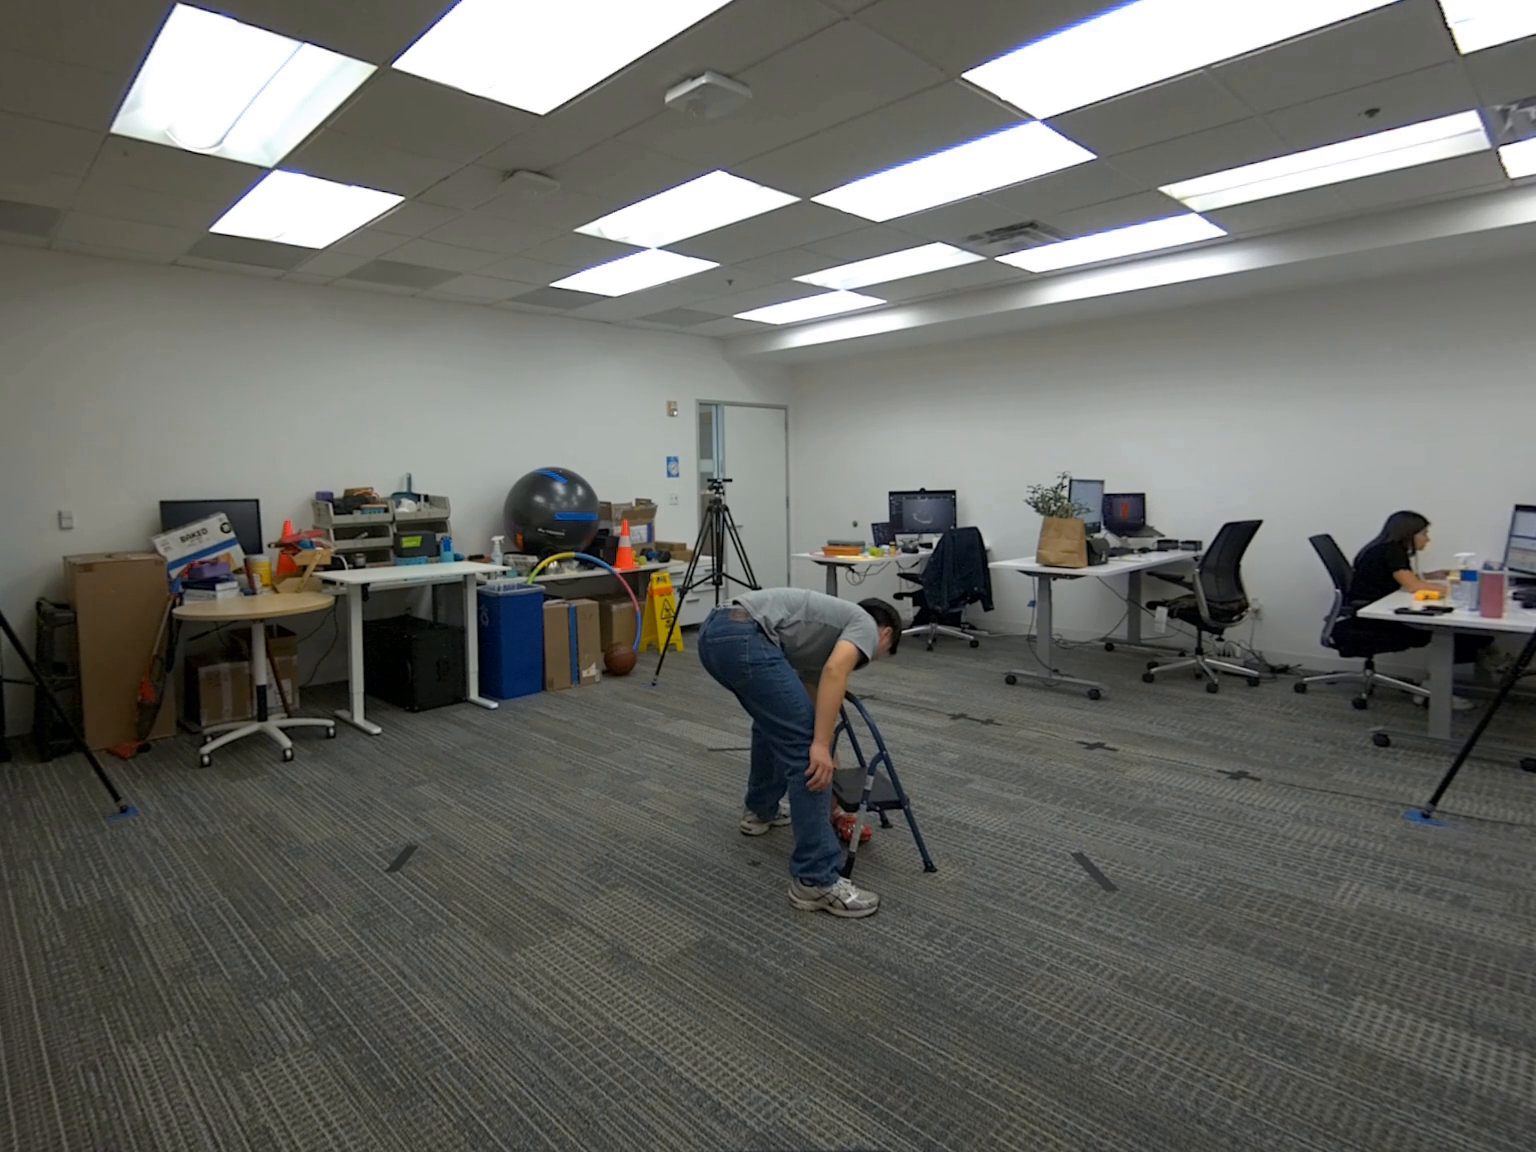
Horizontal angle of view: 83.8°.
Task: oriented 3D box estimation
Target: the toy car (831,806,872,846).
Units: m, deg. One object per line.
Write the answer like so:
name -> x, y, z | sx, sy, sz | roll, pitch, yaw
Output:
toy car -> 0.328, 0.985, 3.352 | 0.129, 0.084, 0.254 | -1, -6, -8
